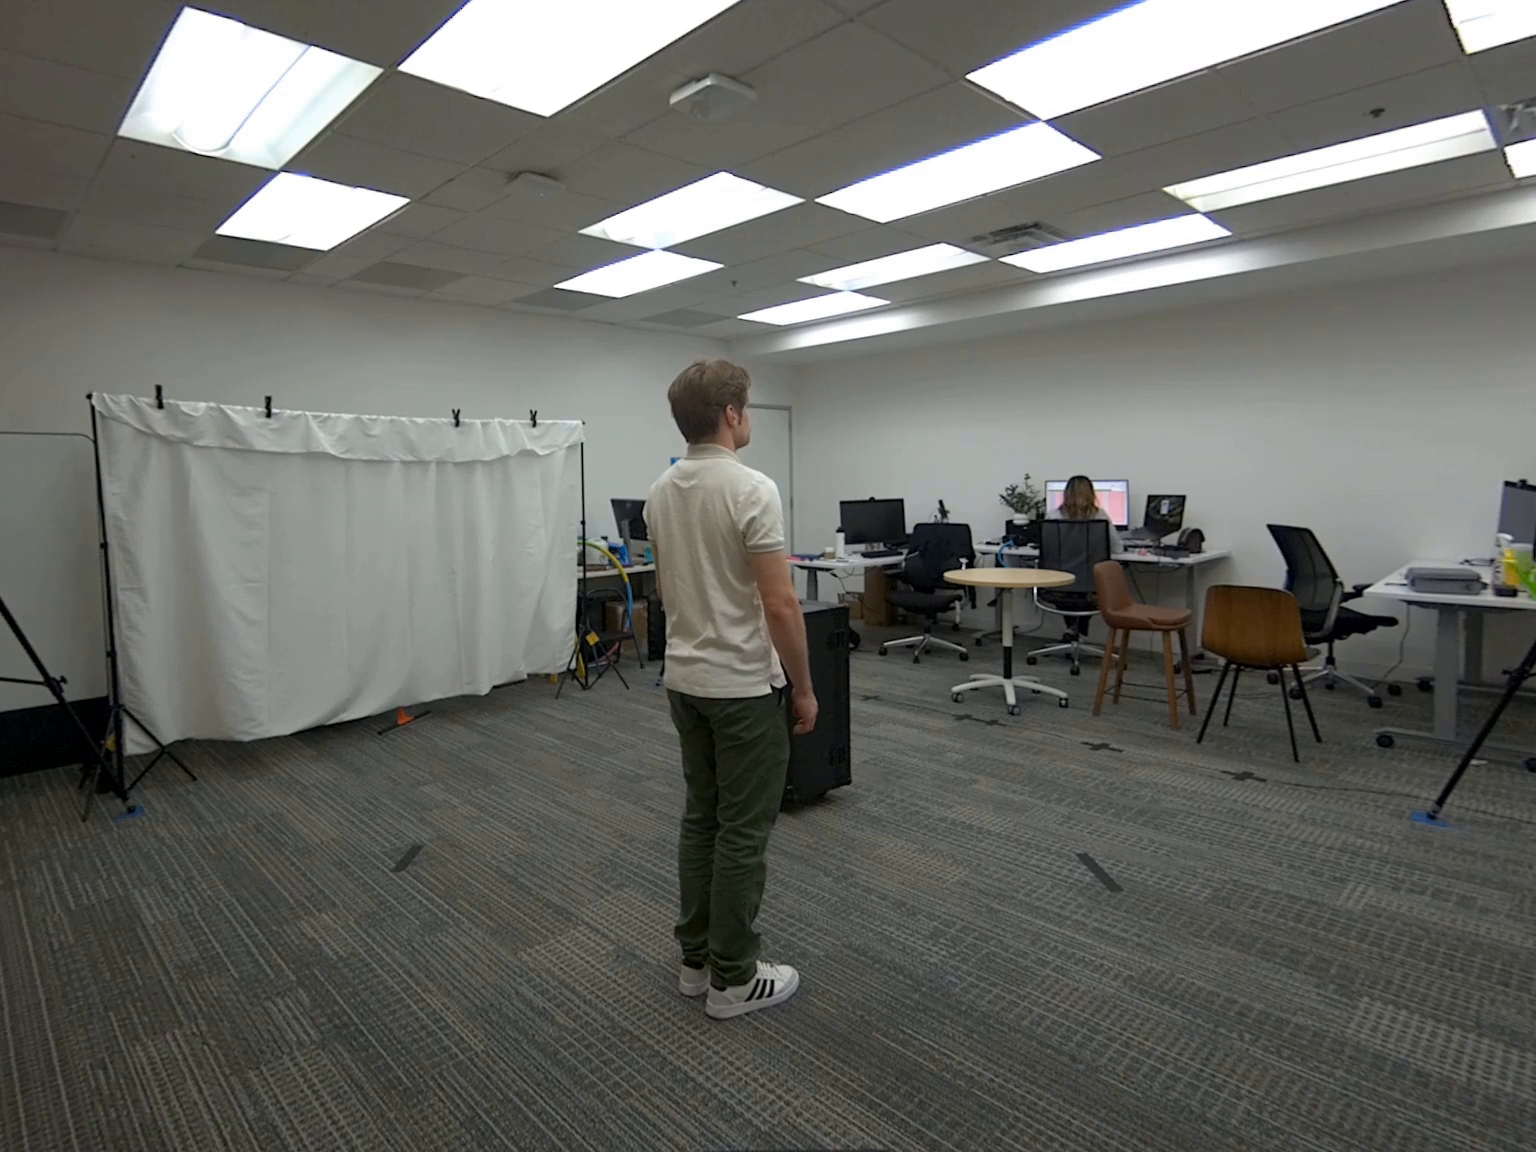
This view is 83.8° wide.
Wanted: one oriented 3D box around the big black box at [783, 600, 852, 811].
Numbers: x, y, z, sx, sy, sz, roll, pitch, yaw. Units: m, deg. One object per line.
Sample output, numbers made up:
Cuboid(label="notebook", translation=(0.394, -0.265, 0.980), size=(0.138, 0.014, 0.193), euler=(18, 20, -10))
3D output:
Cuboid(label="big black box", translation=(0.073, 0.552, 3.767), size=(0.375, 0.865, 0.539), euler=(-5, 5, -40))
